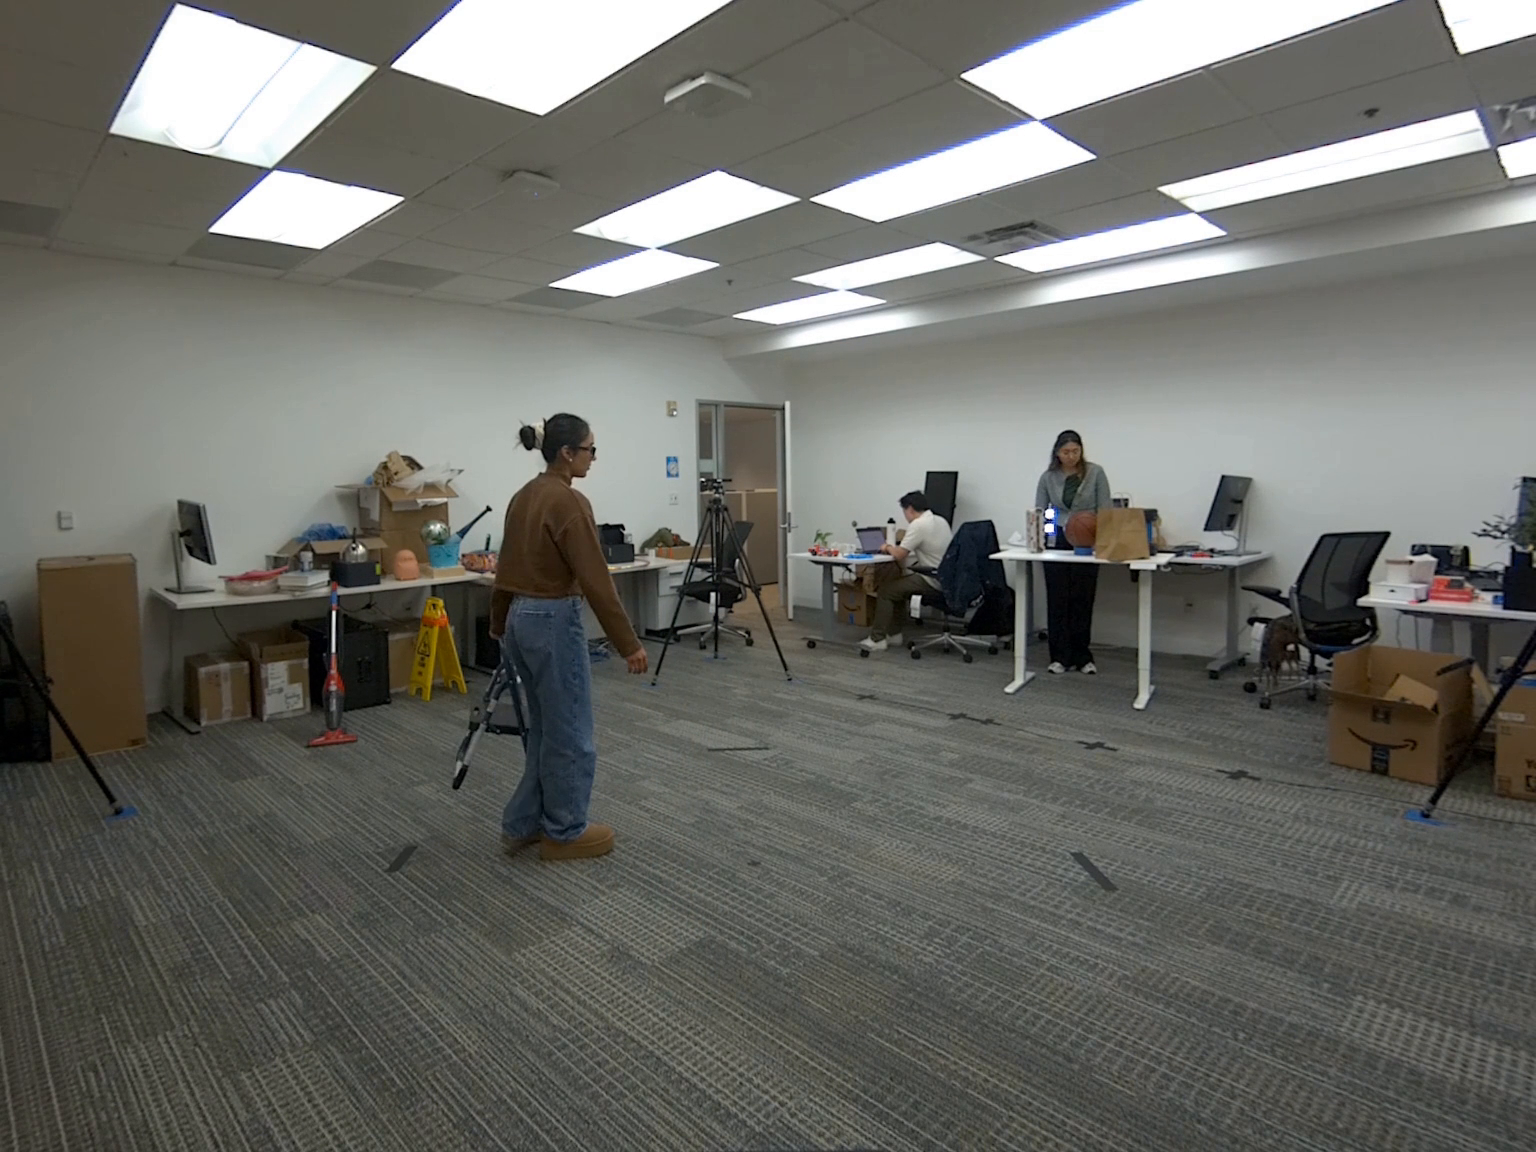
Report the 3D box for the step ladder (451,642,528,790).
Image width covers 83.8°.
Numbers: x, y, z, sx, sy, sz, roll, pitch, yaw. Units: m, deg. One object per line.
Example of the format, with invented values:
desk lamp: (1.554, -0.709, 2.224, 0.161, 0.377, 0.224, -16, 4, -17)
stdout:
step ladder: (-1.075, 0.539, 3.532, 0.343, 0.606, 0.438, 9, 0, -17)
